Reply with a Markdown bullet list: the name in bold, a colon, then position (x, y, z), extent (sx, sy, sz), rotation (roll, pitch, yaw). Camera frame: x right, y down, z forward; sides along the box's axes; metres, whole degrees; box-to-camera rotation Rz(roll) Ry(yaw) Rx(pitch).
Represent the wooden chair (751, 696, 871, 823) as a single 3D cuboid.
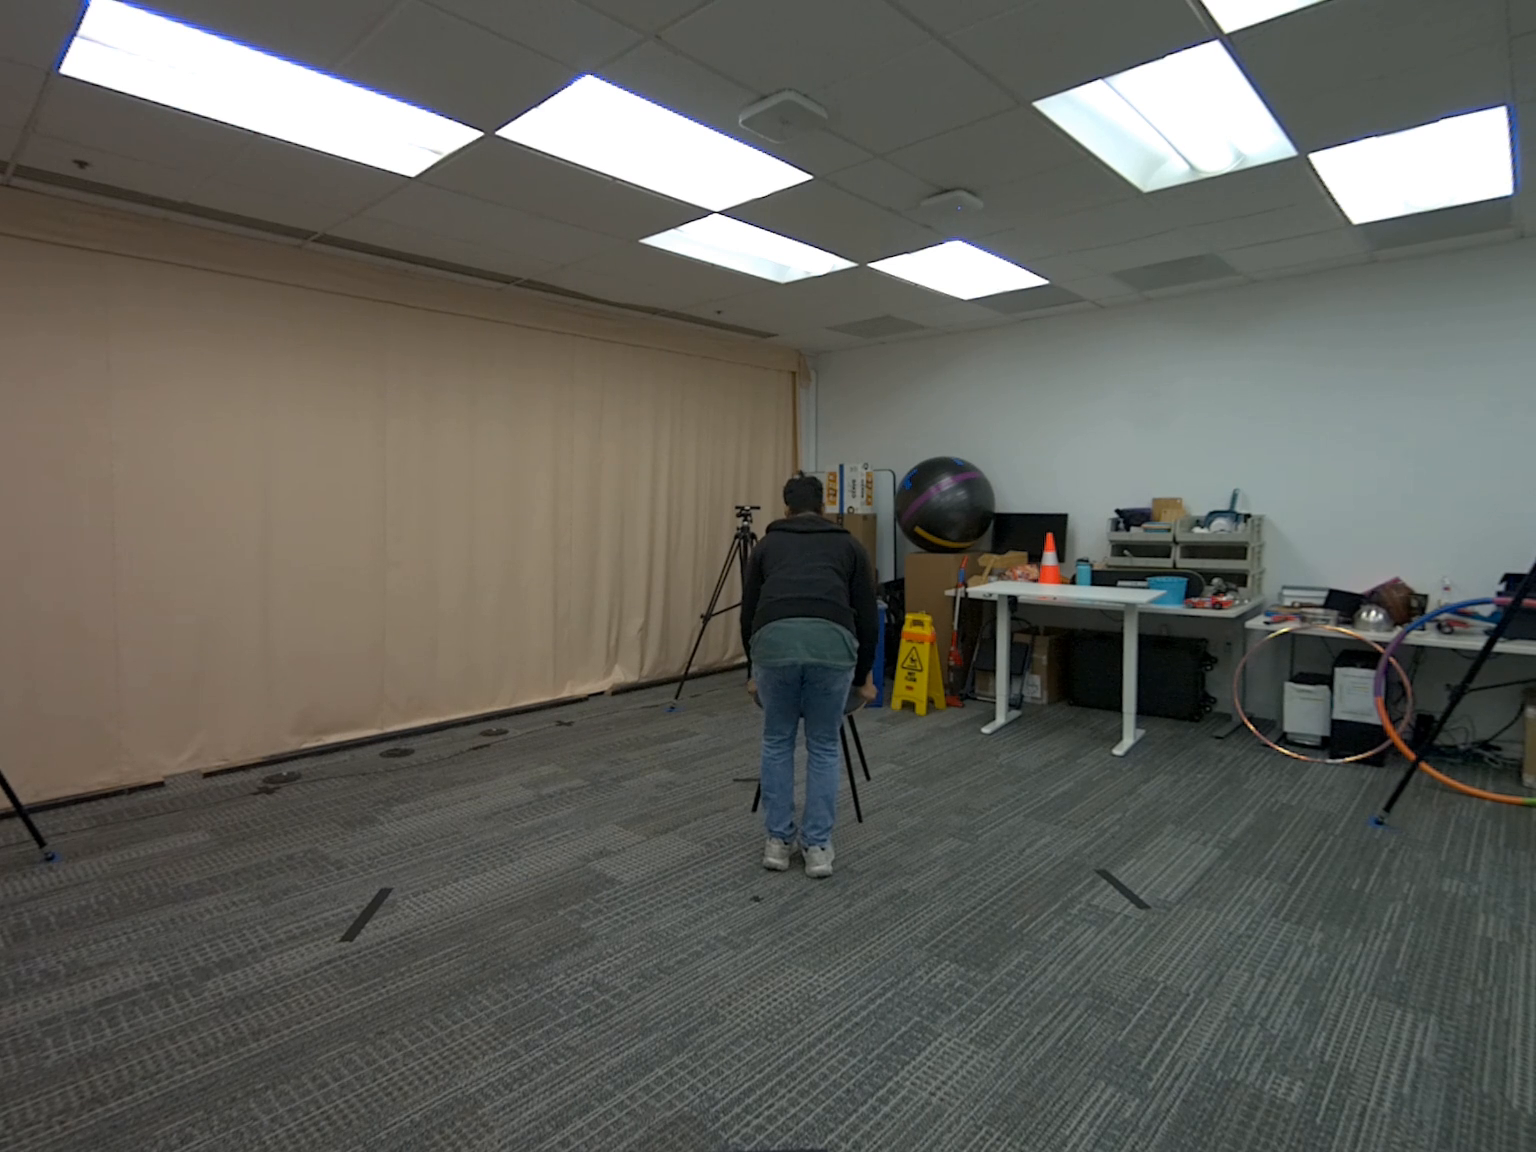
- **wooden chair**: position (0.190, 0.519, 3.561), extent (0.486, 0.875, 0.516), rotation (2, 3, 14)
